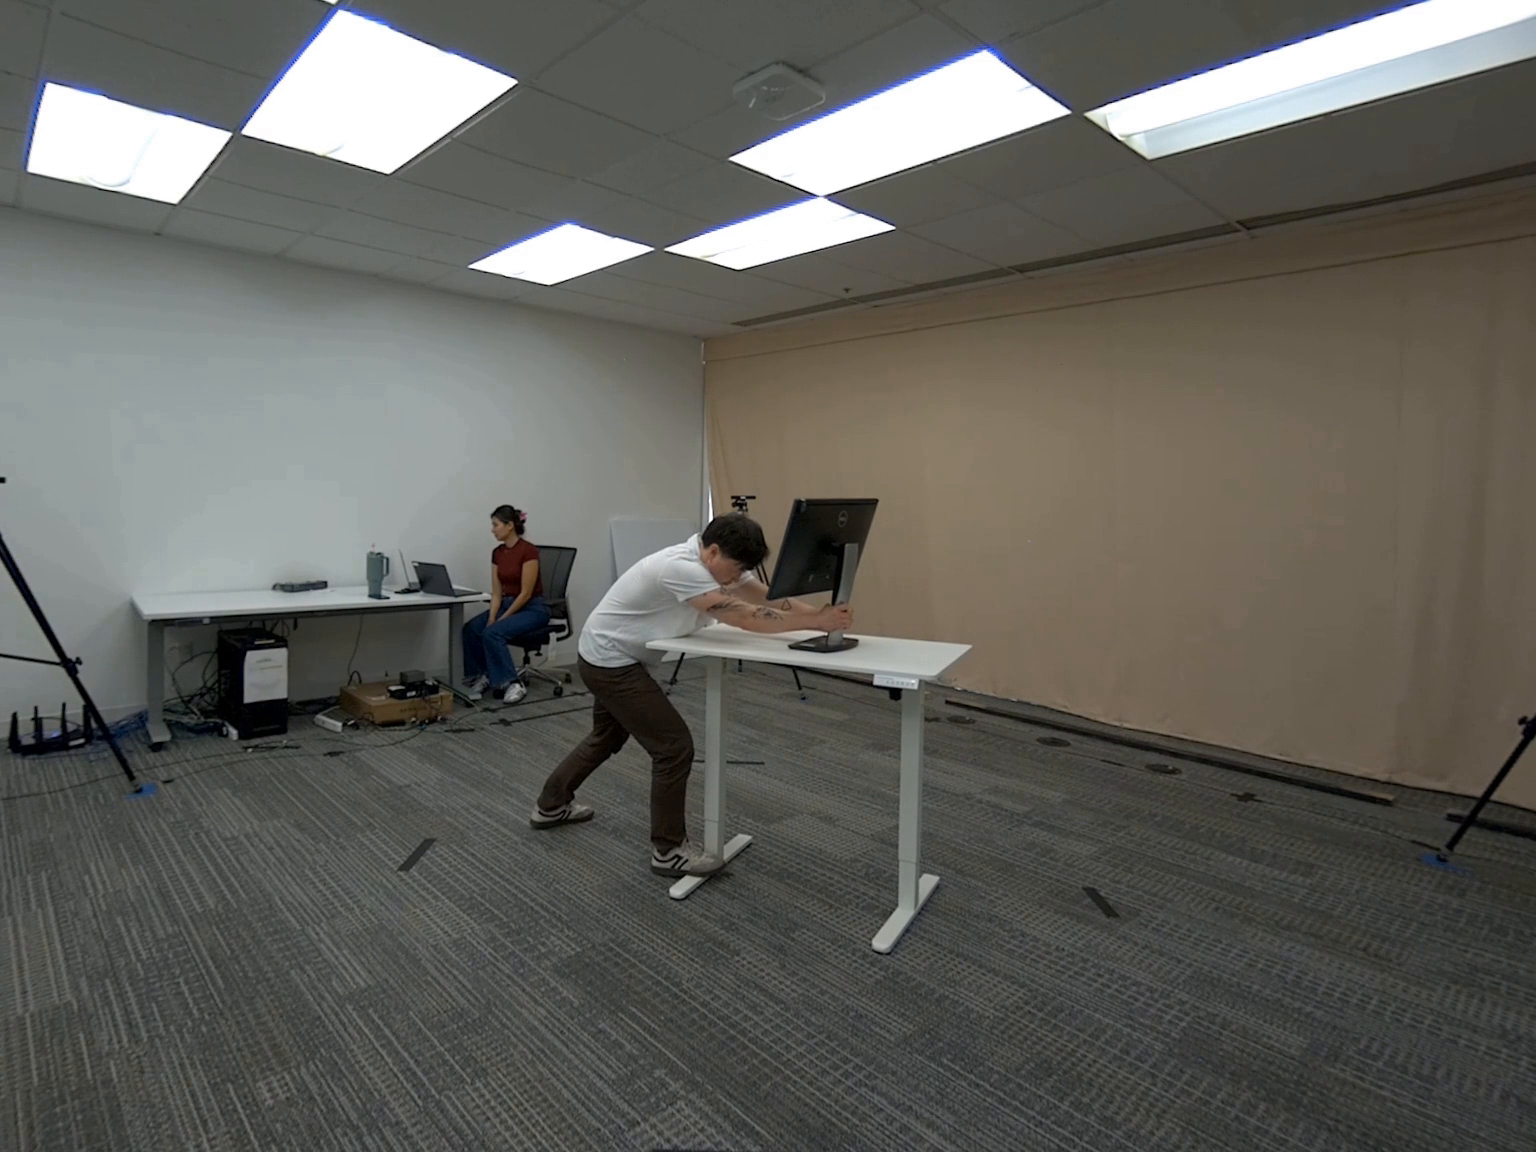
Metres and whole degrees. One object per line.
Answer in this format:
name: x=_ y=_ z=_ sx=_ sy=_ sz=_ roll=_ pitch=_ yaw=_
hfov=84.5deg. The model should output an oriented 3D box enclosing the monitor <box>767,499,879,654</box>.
monitor: x=0.211 y=-0.010 z=2.914 sx=0.192 sy=0.520 sz=0.528 roll=8 pitch=8 yaw=33
